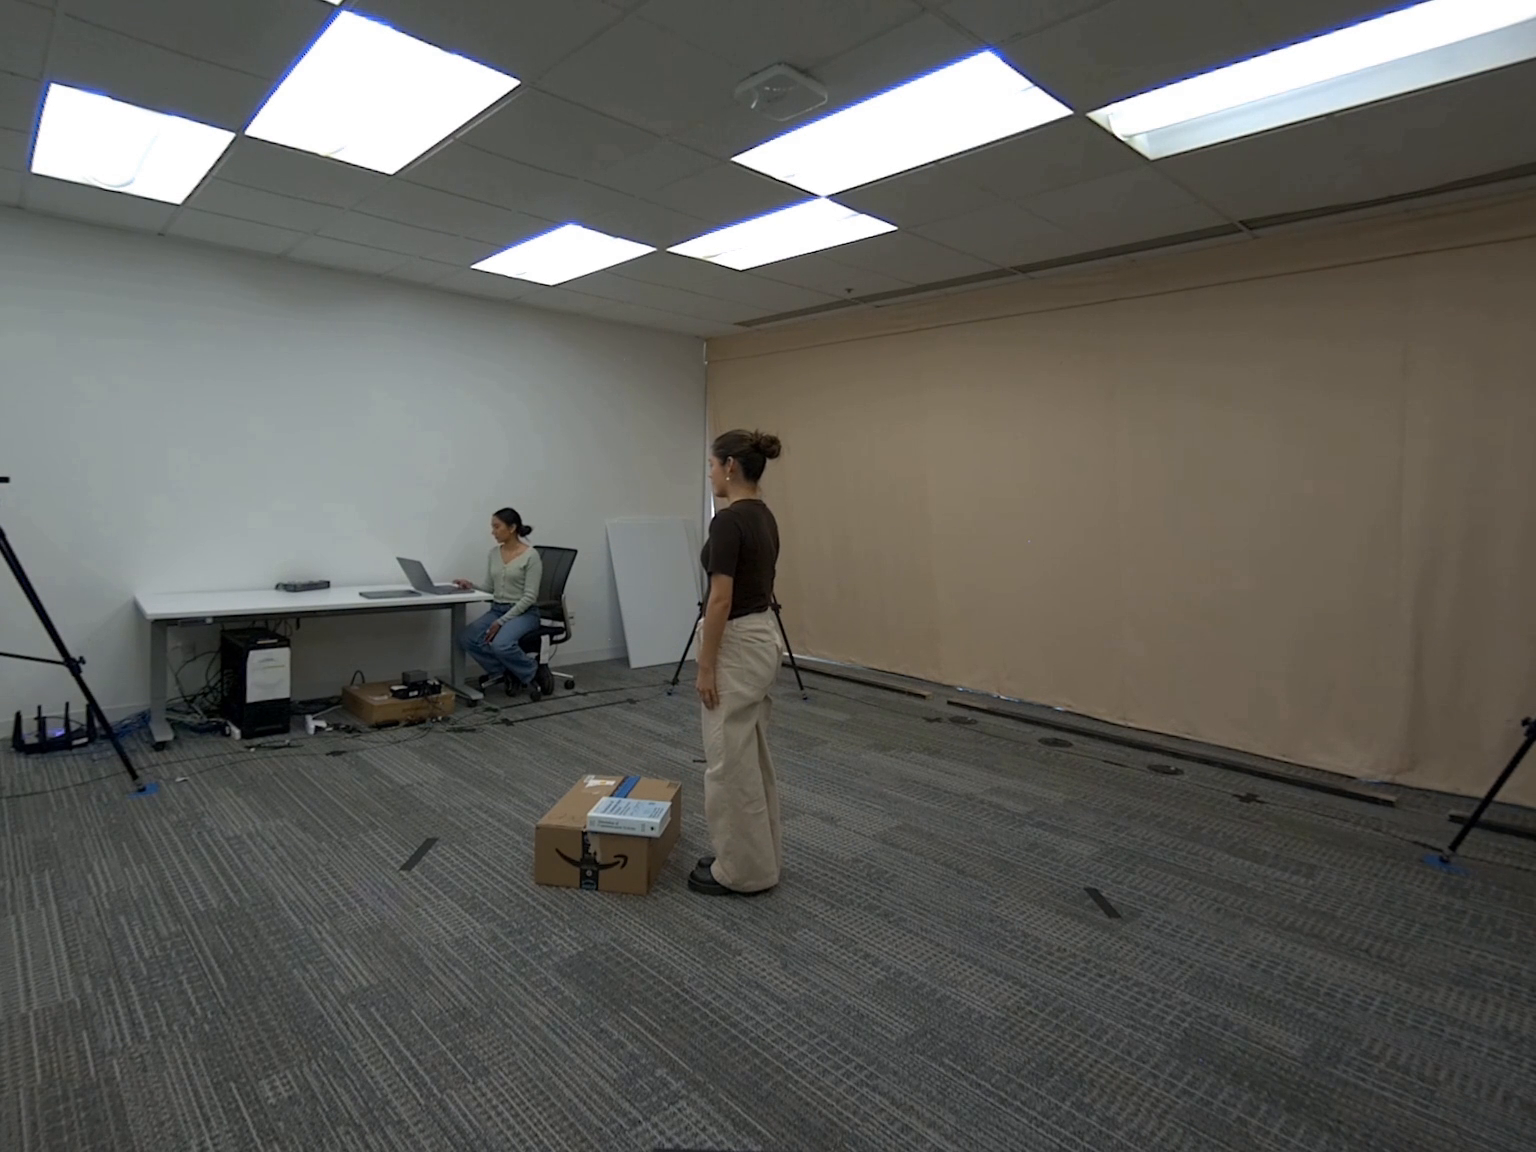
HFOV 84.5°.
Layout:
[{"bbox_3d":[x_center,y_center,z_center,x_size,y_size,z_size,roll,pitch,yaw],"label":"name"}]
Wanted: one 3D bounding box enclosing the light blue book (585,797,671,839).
[{"bbox_3d":[-0.492,0.852,3.011,0.263,0.059,0.190,3,4,7],"label":"light blue book"}]
